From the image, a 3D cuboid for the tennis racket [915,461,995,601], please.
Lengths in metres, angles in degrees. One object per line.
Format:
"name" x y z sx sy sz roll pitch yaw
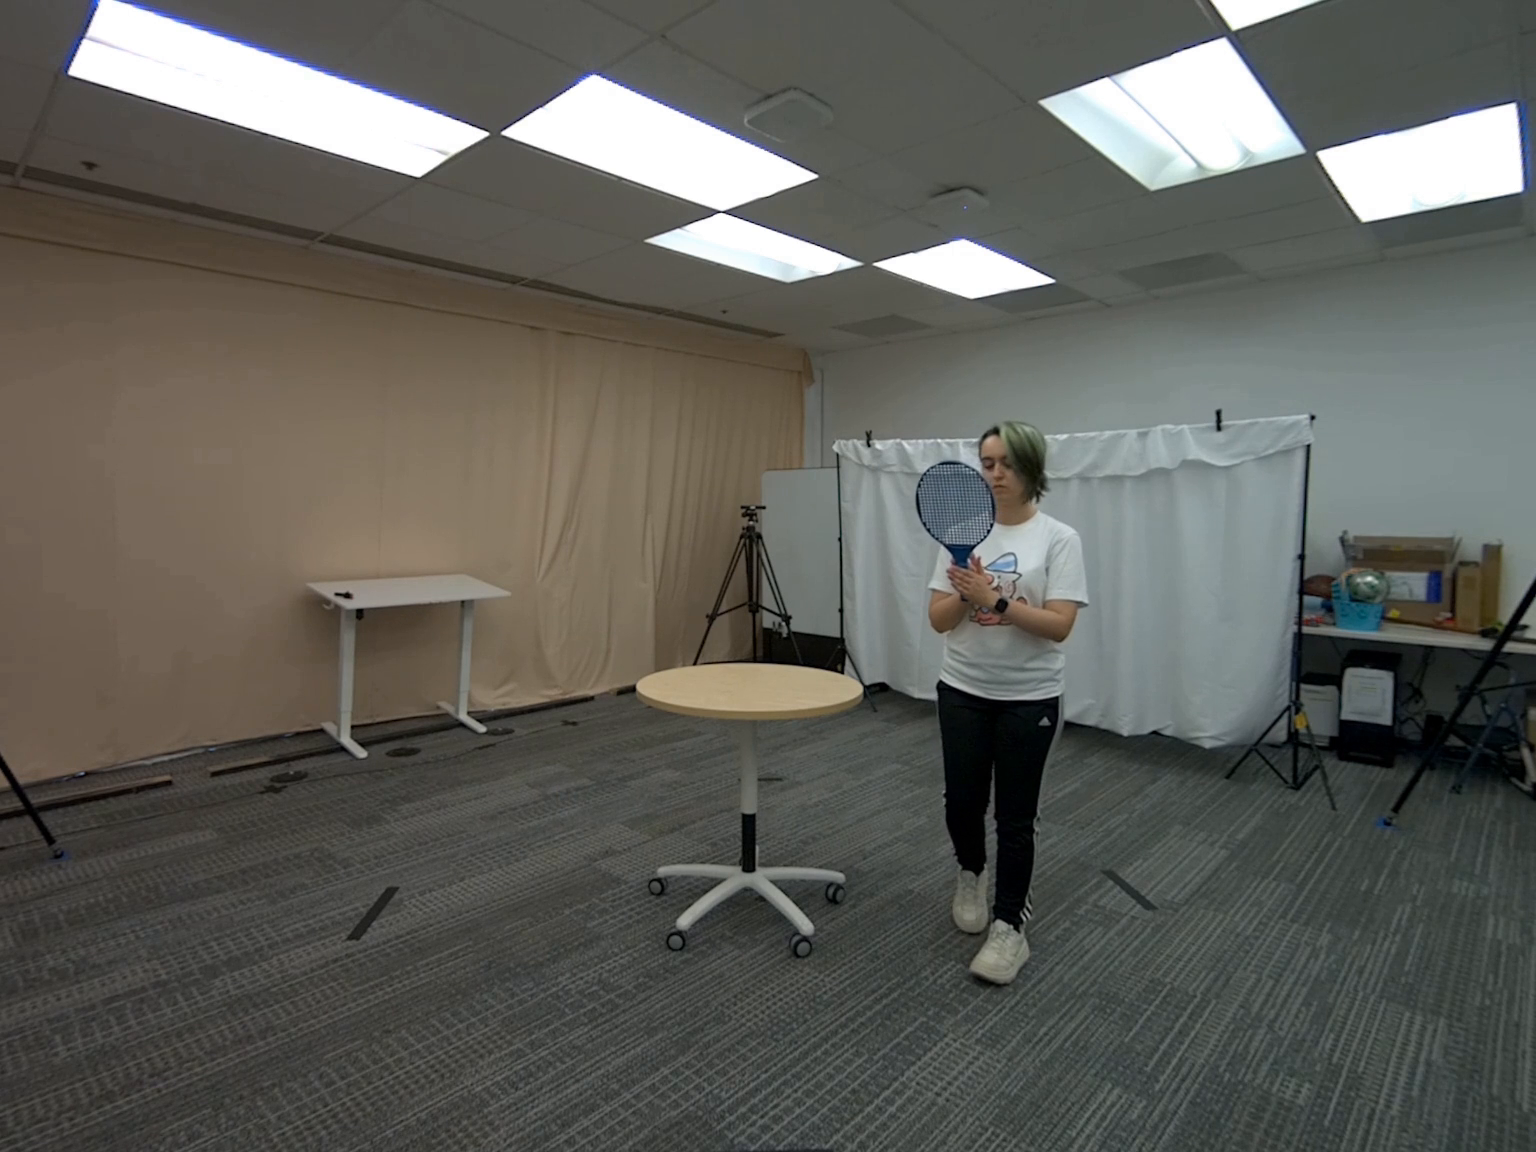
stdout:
"tennis racket" 0.539 -0.119 2.295 0.219 0.424 0.031 -9 25 31
